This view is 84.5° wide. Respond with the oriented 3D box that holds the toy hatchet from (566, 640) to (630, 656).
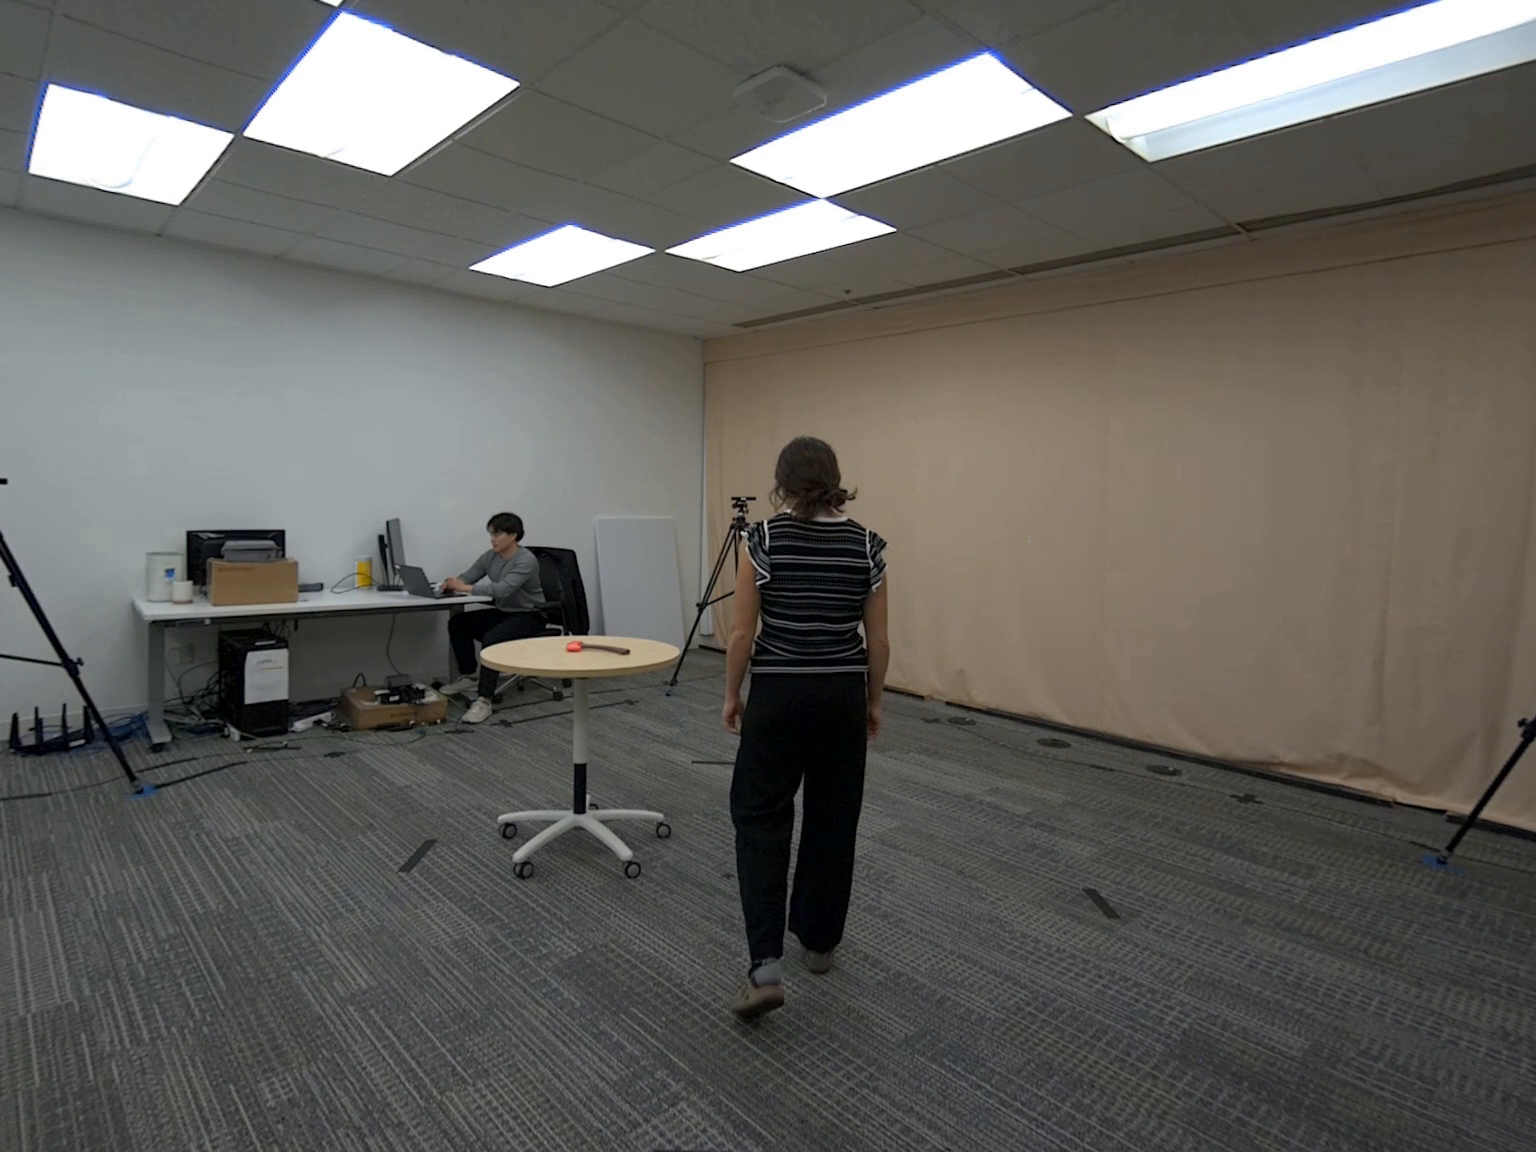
[{"bbox_3d":[-0.676,0.282,3.264,0.276,0.029,0.128,6,7,33],"label":"toy hatchet"}]
